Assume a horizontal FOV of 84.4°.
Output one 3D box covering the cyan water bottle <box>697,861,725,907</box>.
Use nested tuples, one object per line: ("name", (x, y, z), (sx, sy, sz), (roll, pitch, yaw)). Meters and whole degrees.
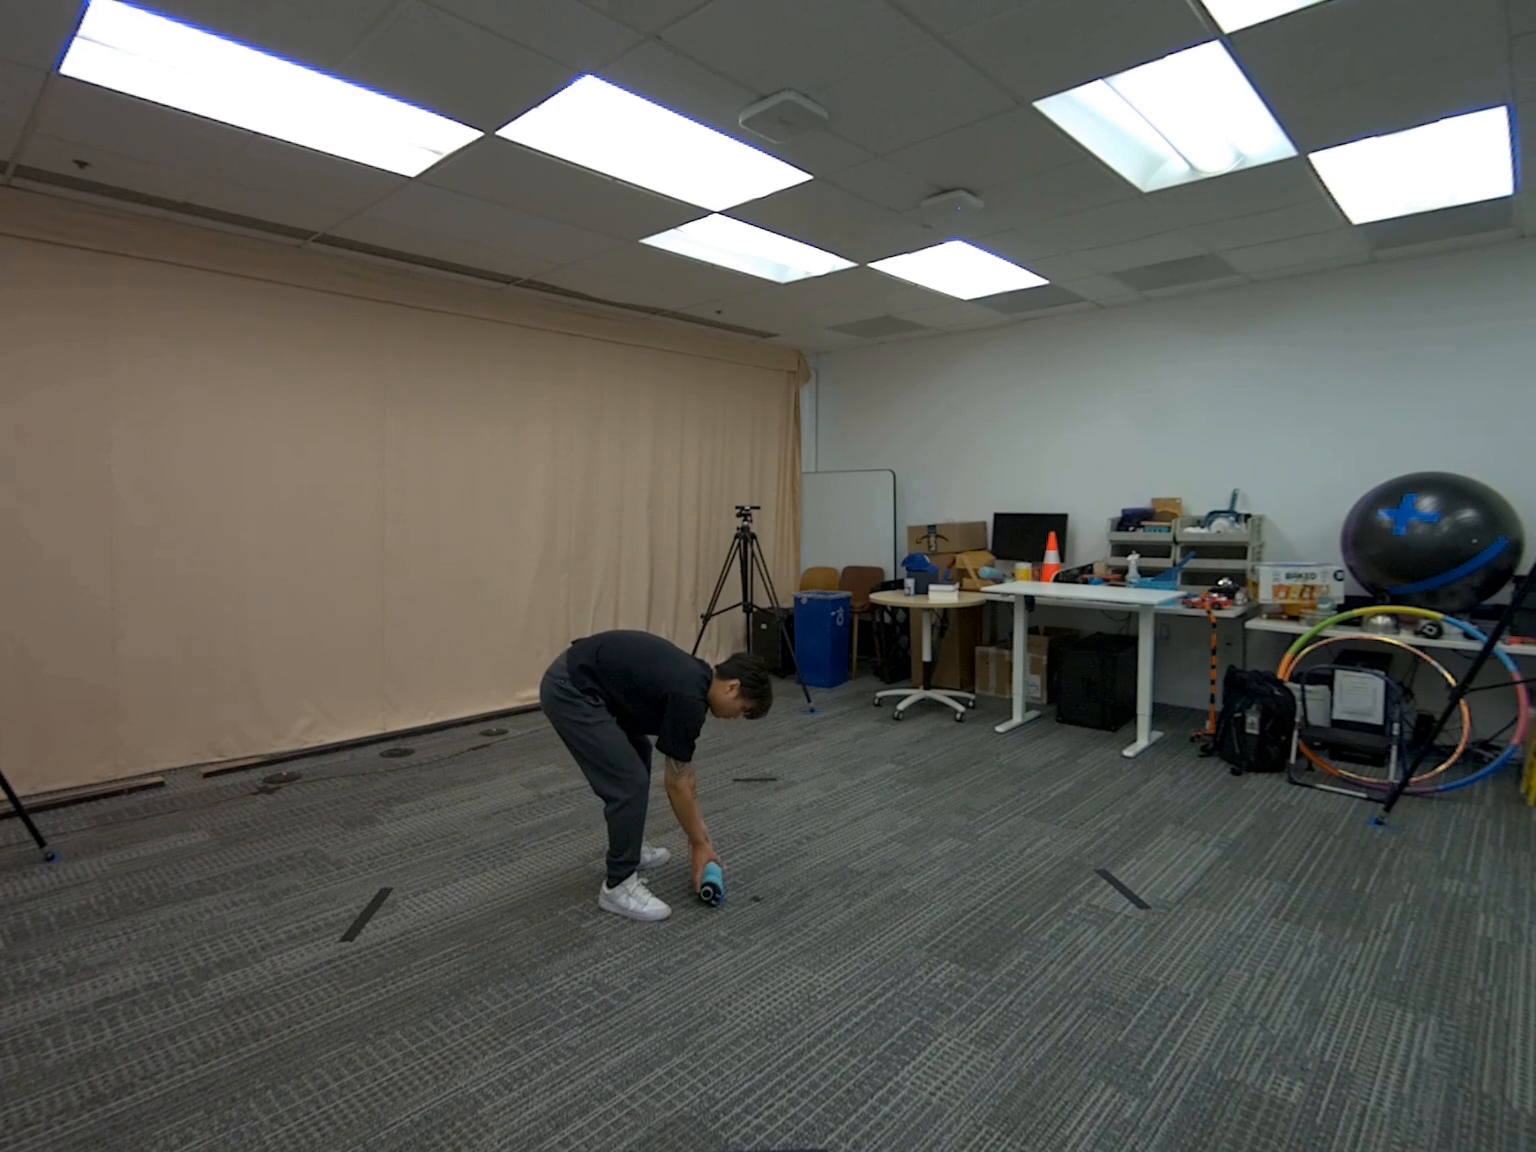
("cyan water bottle", (-0.205, 1.092, 3.031), (0.092, 0.092, 0.285), (0, 2, -6))
